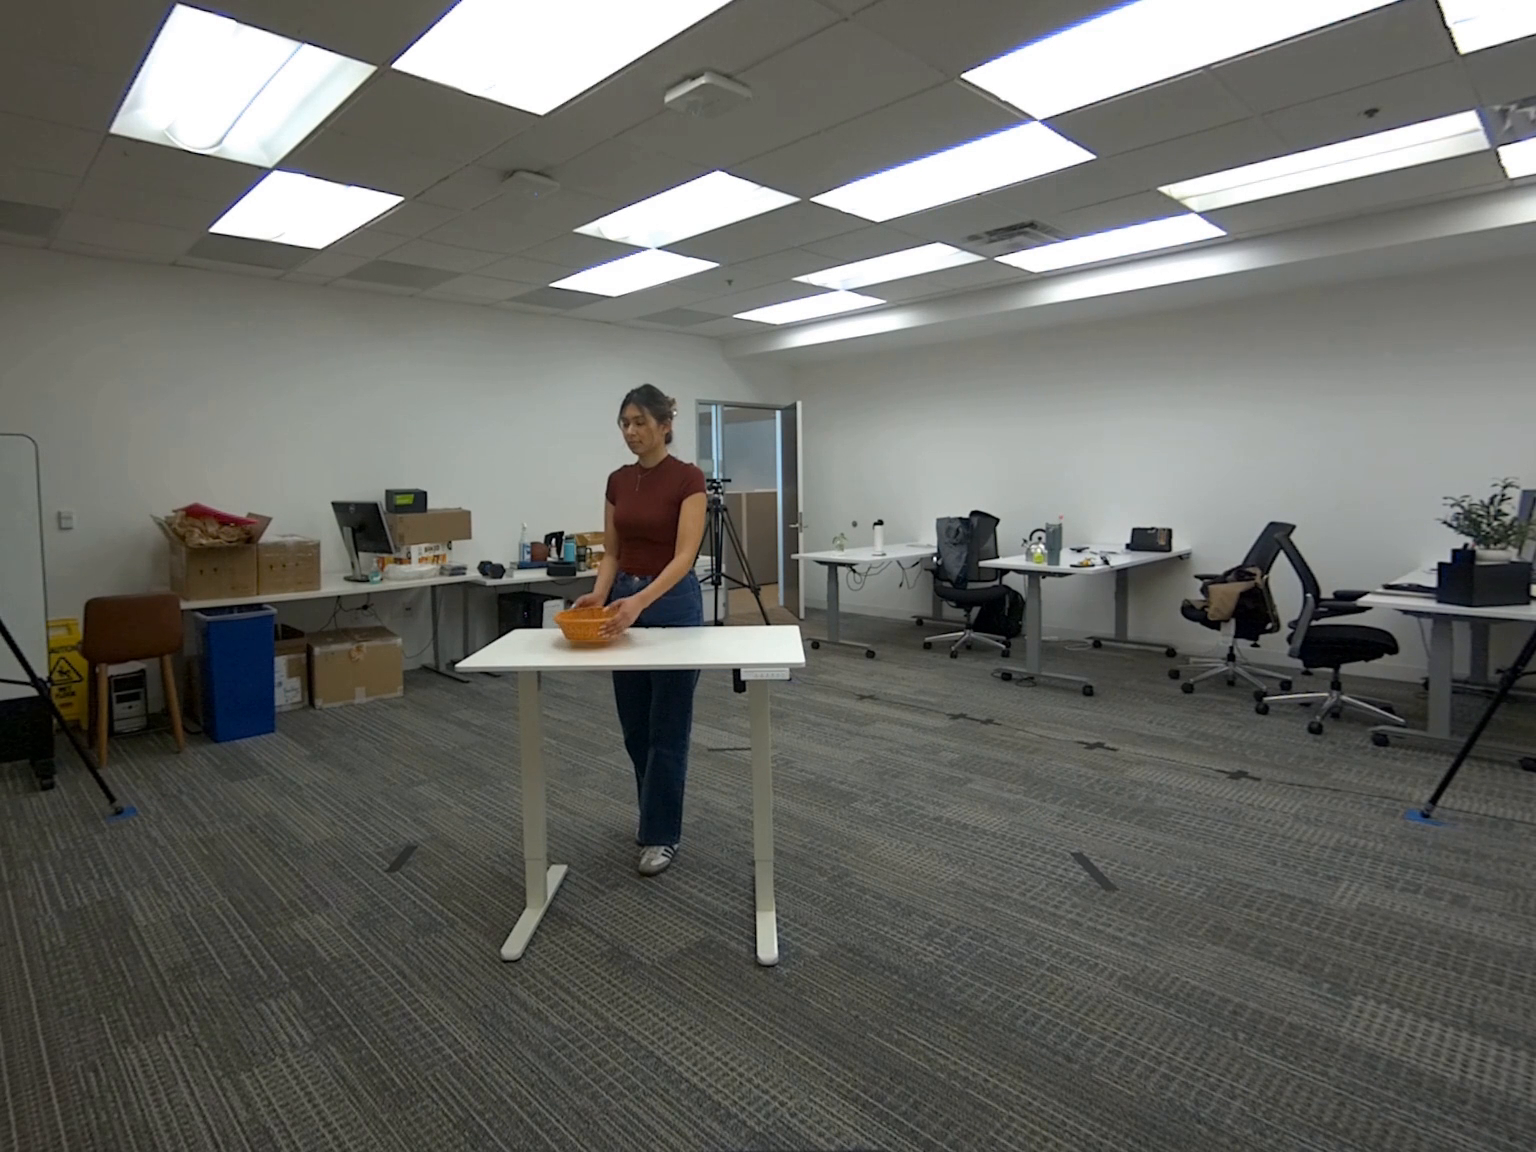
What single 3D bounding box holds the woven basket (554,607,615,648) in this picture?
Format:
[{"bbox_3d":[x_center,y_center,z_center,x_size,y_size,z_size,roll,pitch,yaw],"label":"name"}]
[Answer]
[{"bbox_3d":[-0.580,0.151,2.773,0.251,0.073,0.353,-3,6,-5],"label":"woven basket"}]
